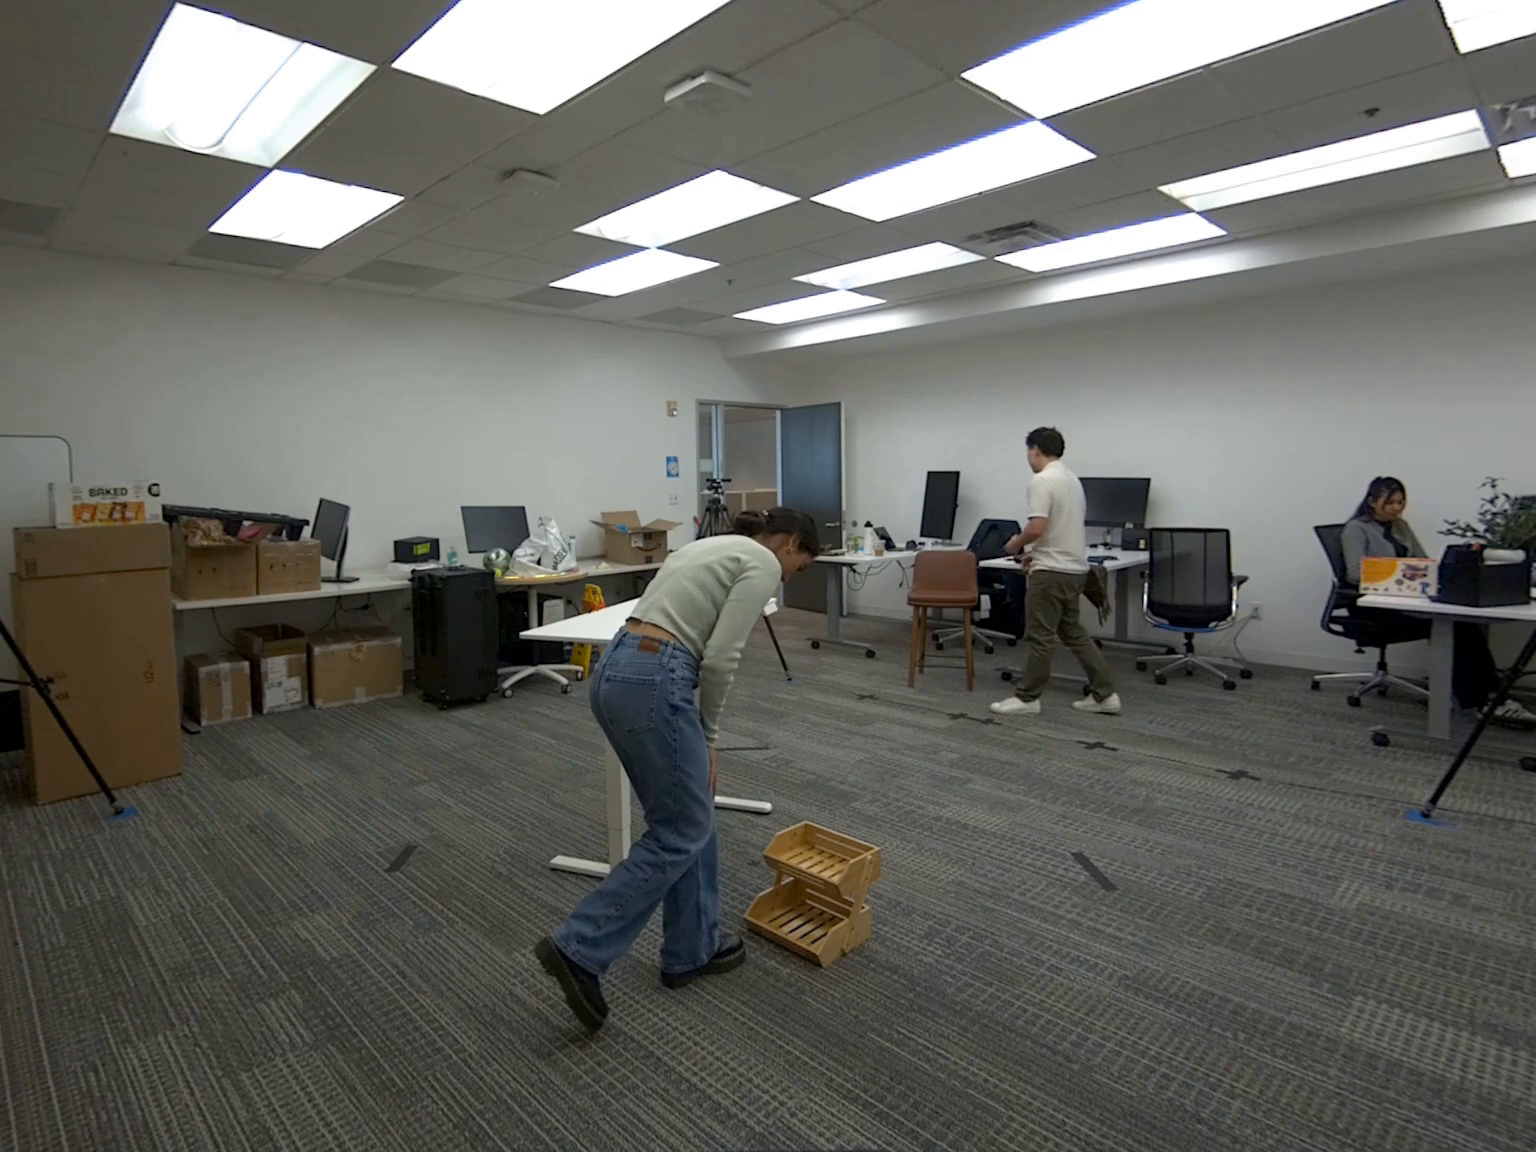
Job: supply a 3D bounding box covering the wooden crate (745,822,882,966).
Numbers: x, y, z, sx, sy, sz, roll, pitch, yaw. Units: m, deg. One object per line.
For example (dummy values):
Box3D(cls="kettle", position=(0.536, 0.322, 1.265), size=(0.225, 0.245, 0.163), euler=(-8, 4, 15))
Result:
Box3D(cls="wooden crate", position=(0.141, 0.962, 2.626), size=(0.334, 0.272, 0.294), euler=(4, 6, 45))
